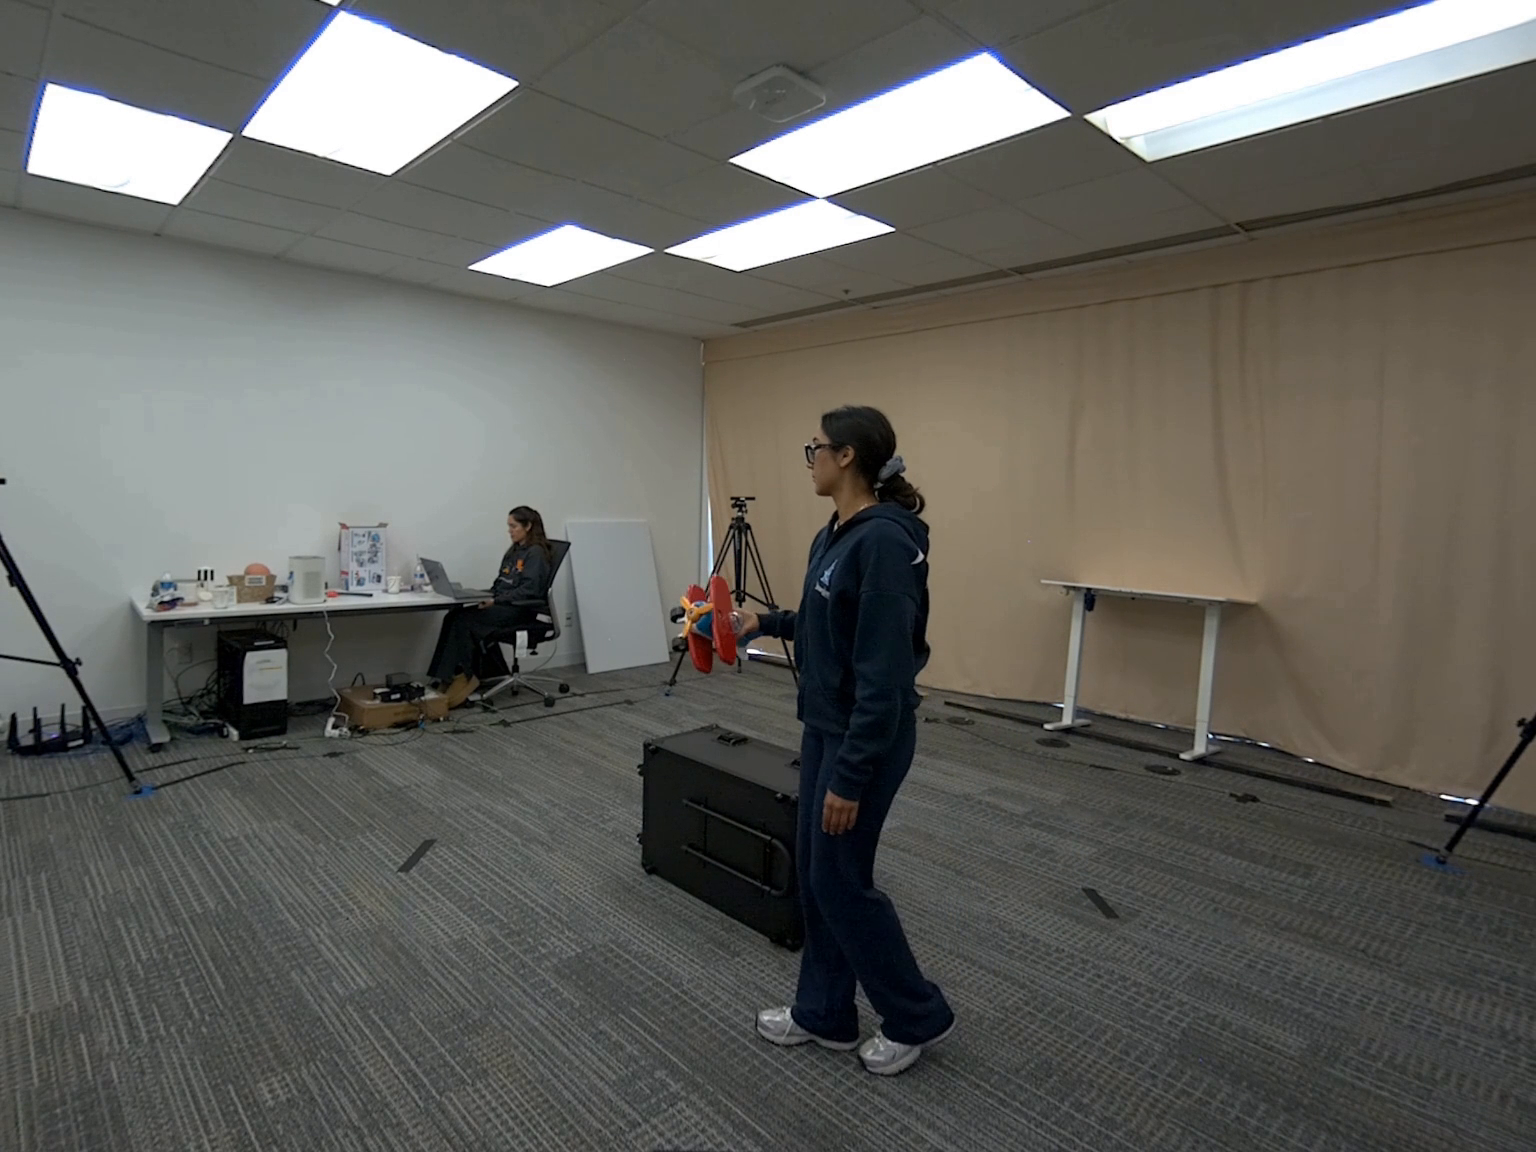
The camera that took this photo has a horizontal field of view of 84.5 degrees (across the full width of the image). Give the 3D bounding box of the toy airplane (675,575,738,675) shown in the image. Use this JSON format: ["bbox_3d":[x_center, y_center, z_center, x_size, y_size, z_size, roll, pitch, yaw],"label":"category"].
[{"bbox_3d":[-0.136,0.130,2.286,0.157,0.254,0.255,-33,-11,38],"label":"toy airplane"}]
